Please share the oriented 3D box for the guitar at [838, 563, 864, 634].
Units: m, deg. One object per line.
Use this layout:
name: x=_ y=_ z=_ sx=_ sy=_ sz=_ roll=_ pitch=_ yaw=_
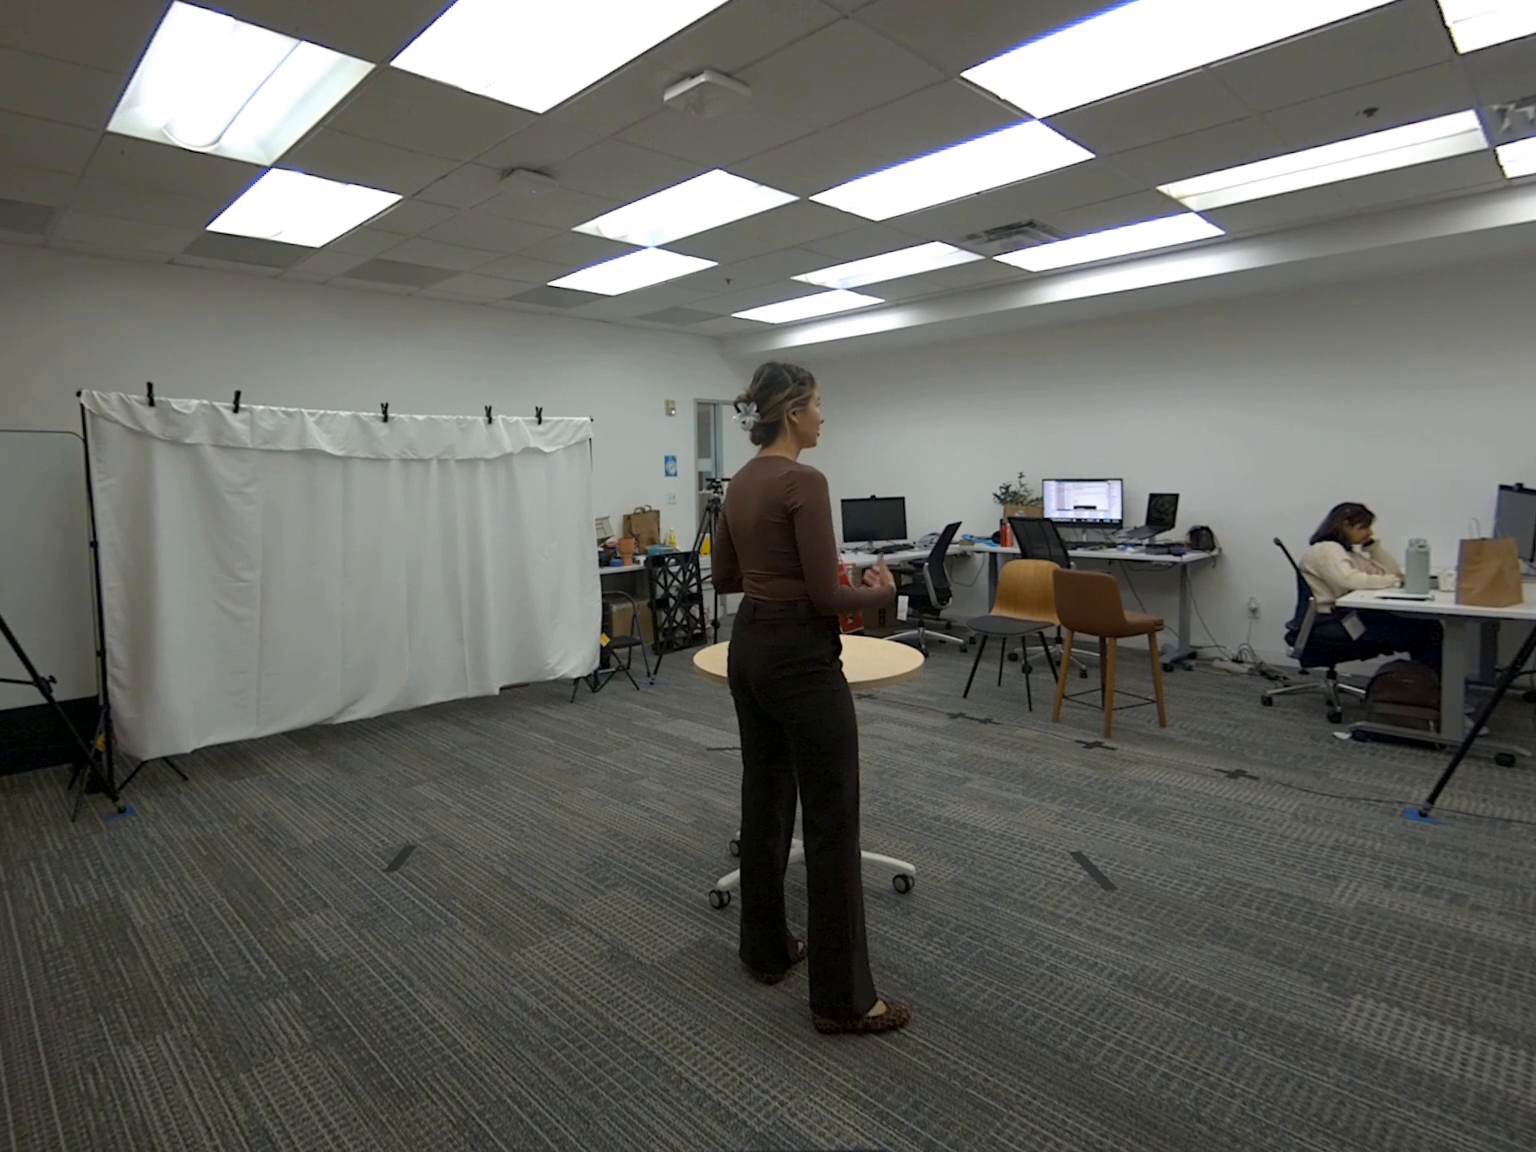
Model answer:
guitar: x=0.208 y=0.011 z=2.468 sx=0.071 sy=0.190 sz=0.503 roll=-16 pitch=15 yaw=5
